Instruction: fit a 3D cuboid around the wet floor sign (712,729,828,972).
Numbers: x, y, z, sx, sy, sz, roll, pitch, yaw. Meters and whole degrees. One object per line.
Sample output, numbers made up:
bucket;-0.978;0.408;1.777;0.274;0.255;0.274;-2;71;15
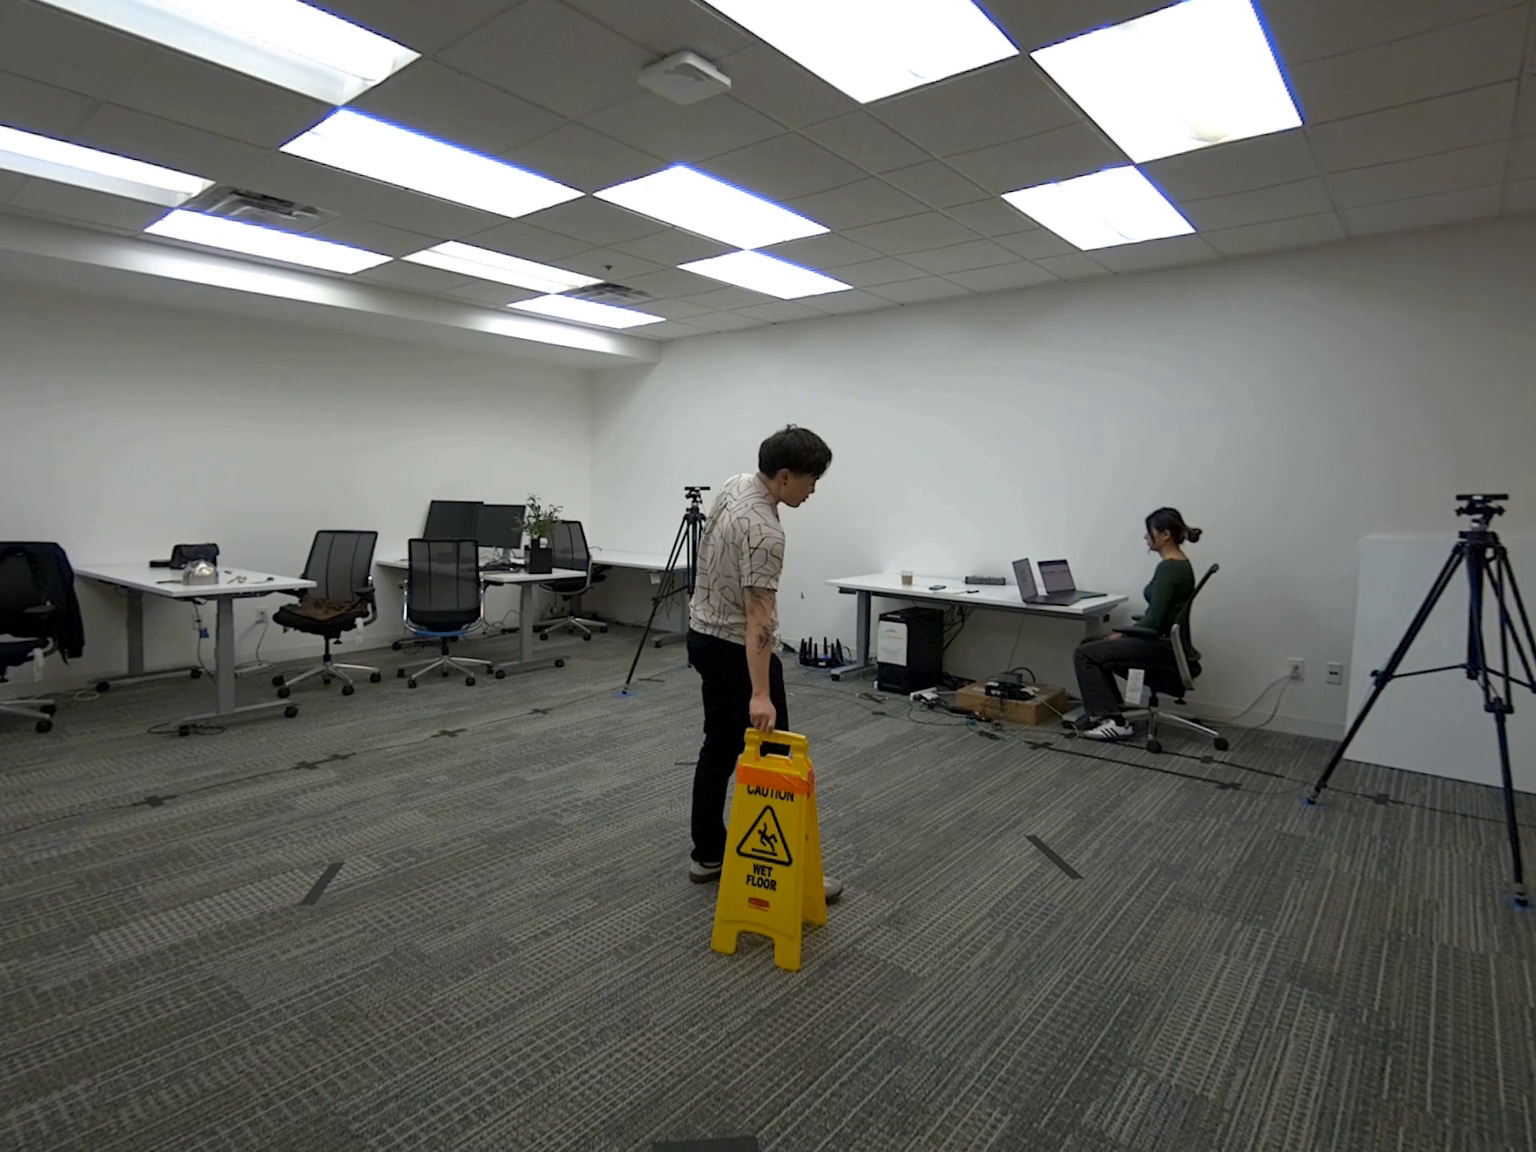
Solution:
wet floor sign;0.011;0.793;2.625;0.289;0.645;0.283;4;3;21
